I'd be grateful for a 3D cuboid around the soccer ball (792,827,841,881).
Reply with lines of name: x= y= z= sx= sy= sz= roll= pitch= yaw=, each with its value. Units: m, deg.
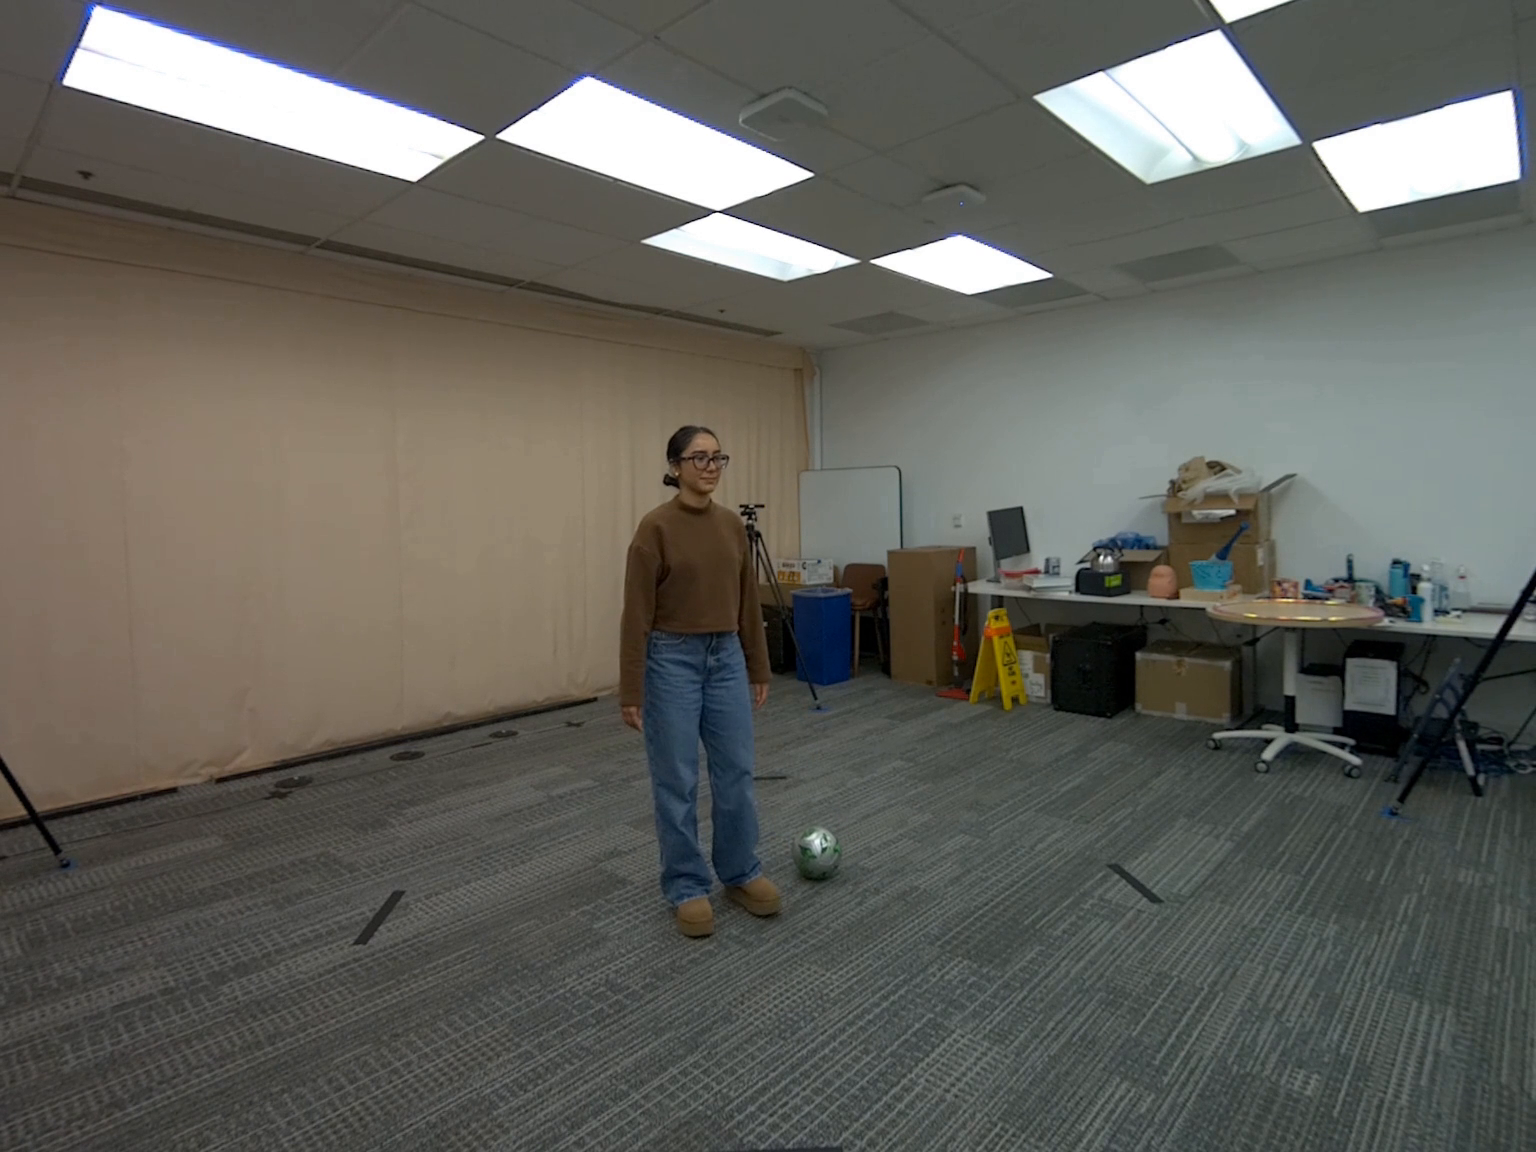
soccer ball: x=0.182 y=1.025 z=3.133 sx=0.187 sy=0.187 sz=0.188 roll=-1 pitch=4 yaw=-2
